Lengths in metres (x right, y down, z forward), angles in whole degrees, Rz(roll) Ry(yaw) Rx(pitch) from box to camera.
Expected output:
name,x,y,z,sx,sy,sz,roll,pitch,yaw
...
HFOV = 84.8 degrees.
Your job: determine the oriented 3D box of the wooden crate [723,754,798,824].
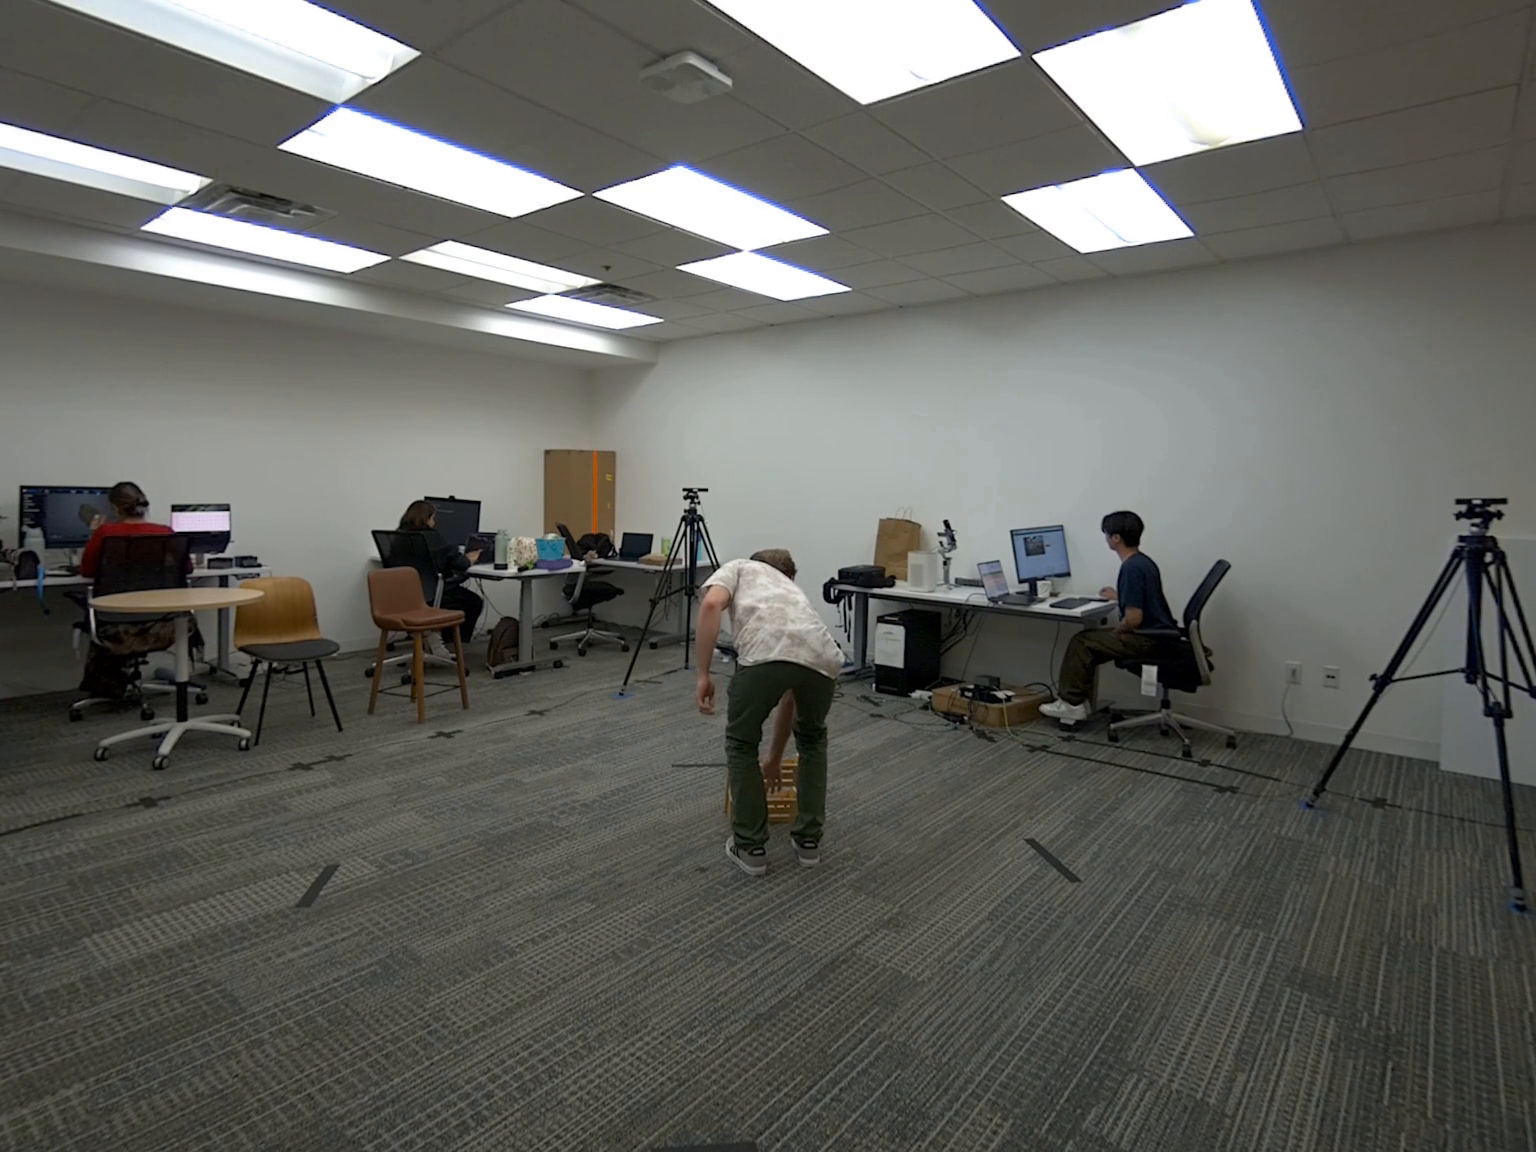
name,x,y,z,sx,sy,sz,roll,pitch,yaw
wooden crate,-0.025,0.882,3.659,0.322,0.272,0.305,0,5,-7
